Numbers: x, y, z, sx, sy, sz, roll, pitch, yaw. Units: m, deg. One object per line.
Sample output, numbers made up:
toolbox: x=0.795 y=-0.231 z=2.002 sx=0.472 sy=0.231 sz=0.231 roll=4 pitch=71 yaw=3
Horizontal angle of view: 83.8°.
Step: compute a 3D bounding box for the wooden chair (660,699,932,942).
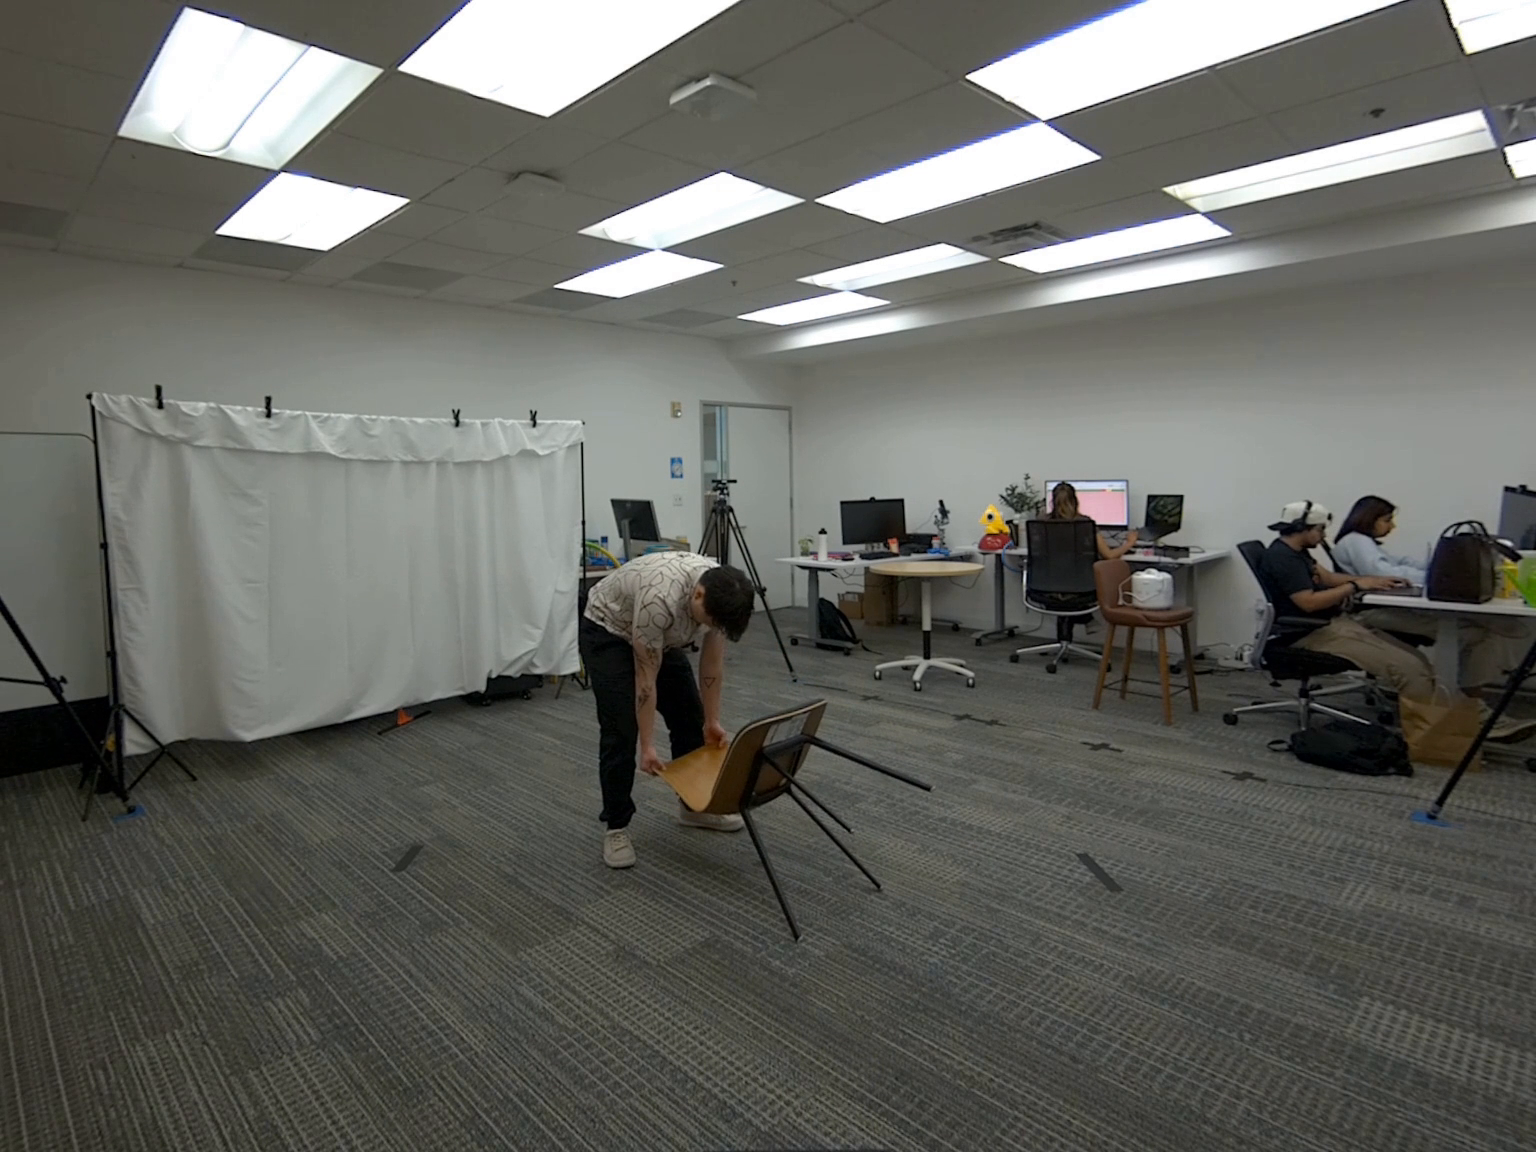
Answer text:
wooden chair: x=0.016 y=0.665 z=2.908 sx=0.466 sy=0.517 sz=0.911 roll=-7 pitch=30 yaw=-46
